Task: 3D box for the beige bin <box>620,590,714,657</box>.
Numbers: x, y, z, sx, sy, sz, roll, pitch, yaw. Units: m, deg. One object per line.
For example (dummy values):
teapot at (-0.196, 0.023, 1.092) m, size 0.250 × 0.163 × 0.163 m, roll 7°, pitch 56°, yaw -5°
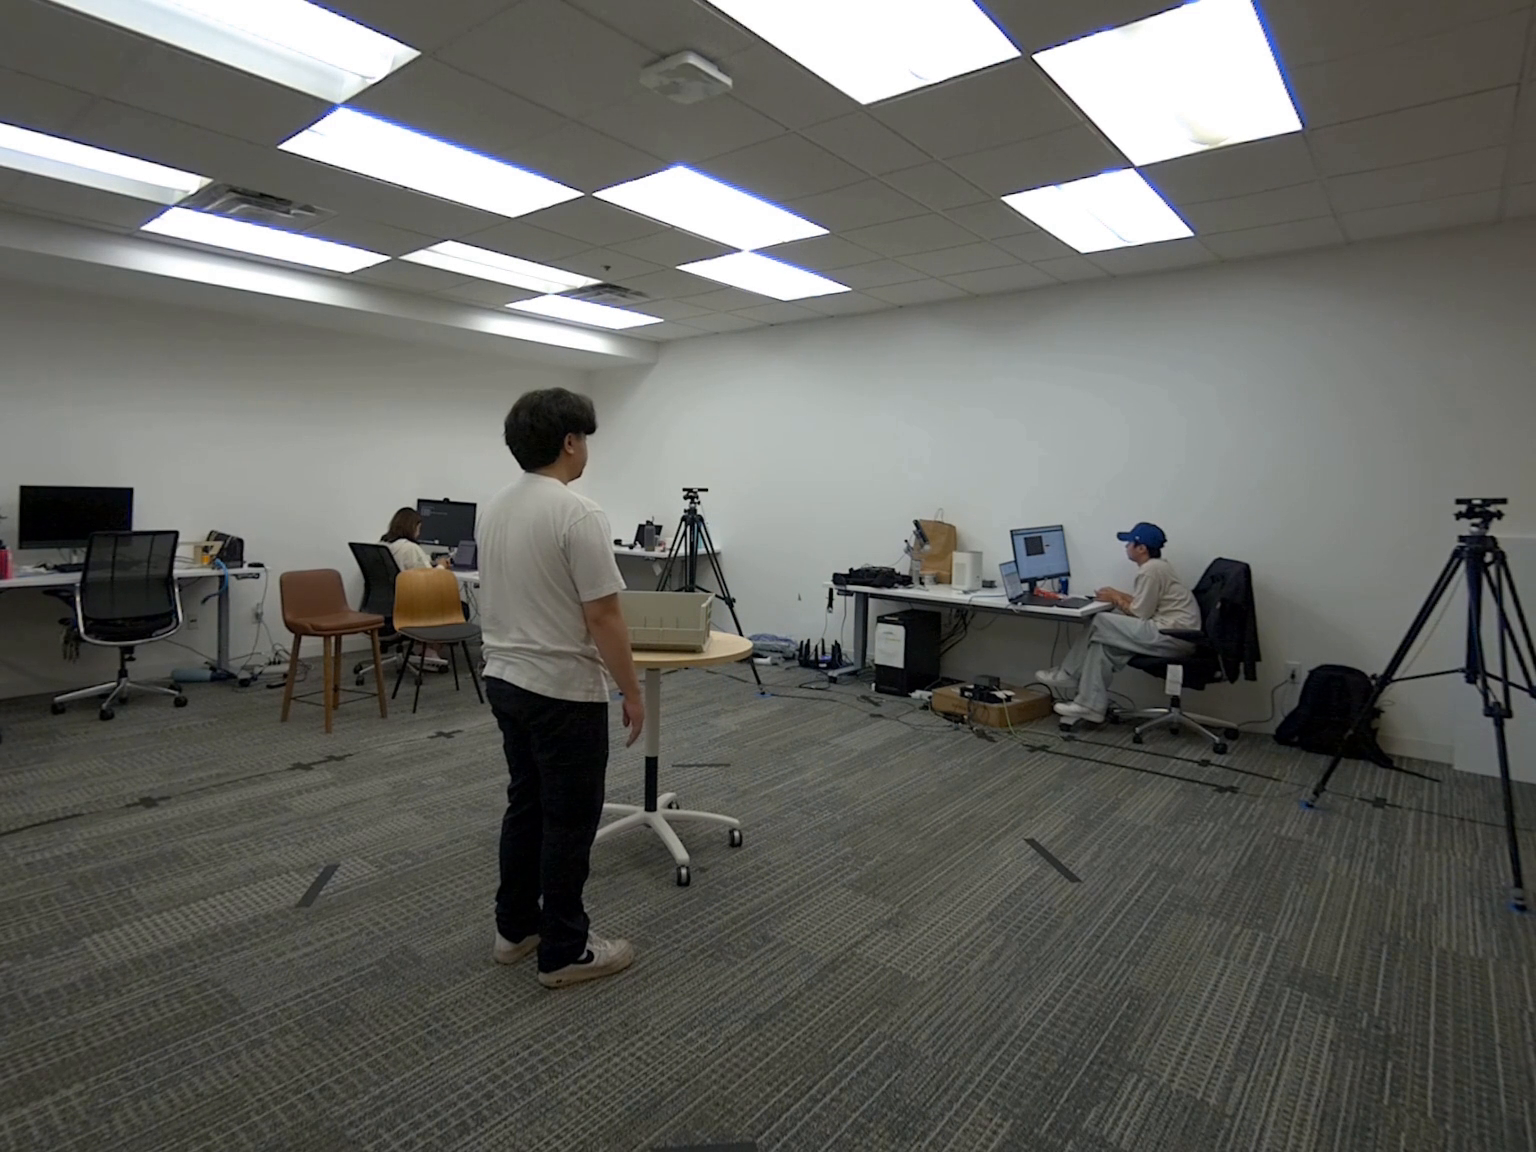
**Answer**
beige bin at (-0.433, 0.171, 3.202) m, size 0.423 × 0.188 × 0.377 m, roll 2°, pitch 4°, yaw 1°
